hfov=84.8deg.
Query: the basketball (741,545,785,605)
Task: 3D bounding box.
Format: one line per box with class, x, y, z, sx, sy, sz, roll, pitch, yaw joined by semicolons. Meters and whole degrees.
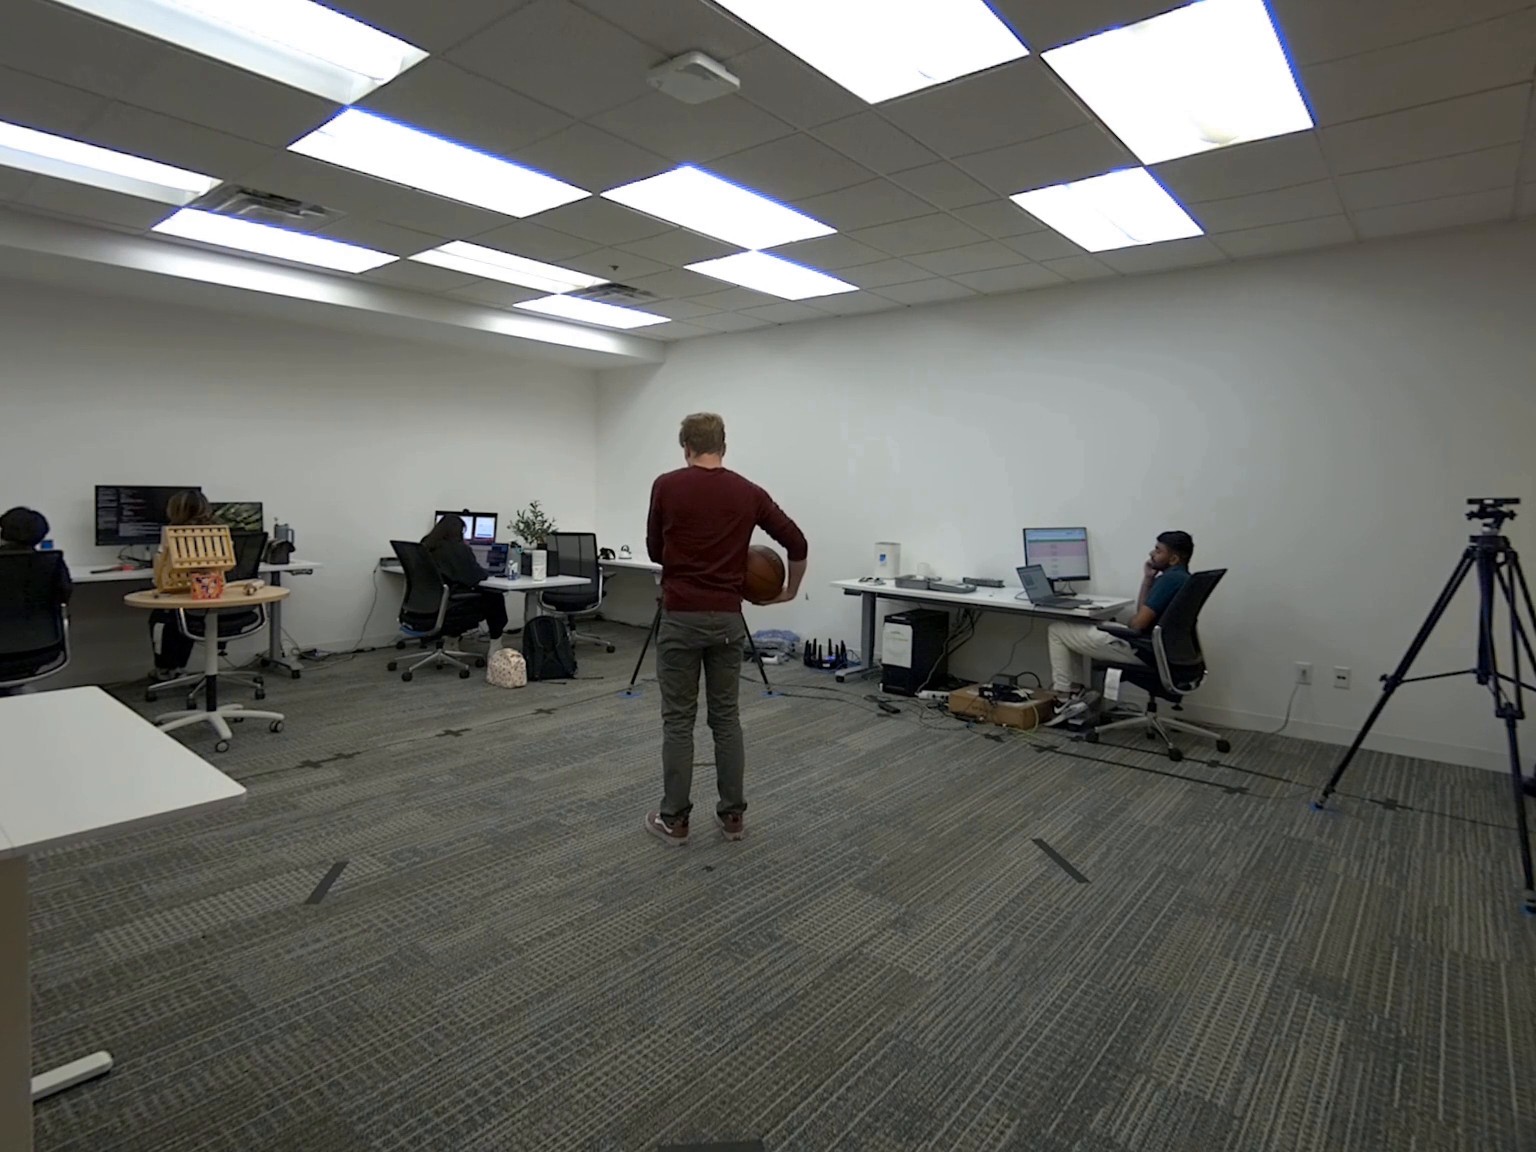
basketball;-0.068;-0.014;3.535;0.235;0.235;0.237;1;4;-2
